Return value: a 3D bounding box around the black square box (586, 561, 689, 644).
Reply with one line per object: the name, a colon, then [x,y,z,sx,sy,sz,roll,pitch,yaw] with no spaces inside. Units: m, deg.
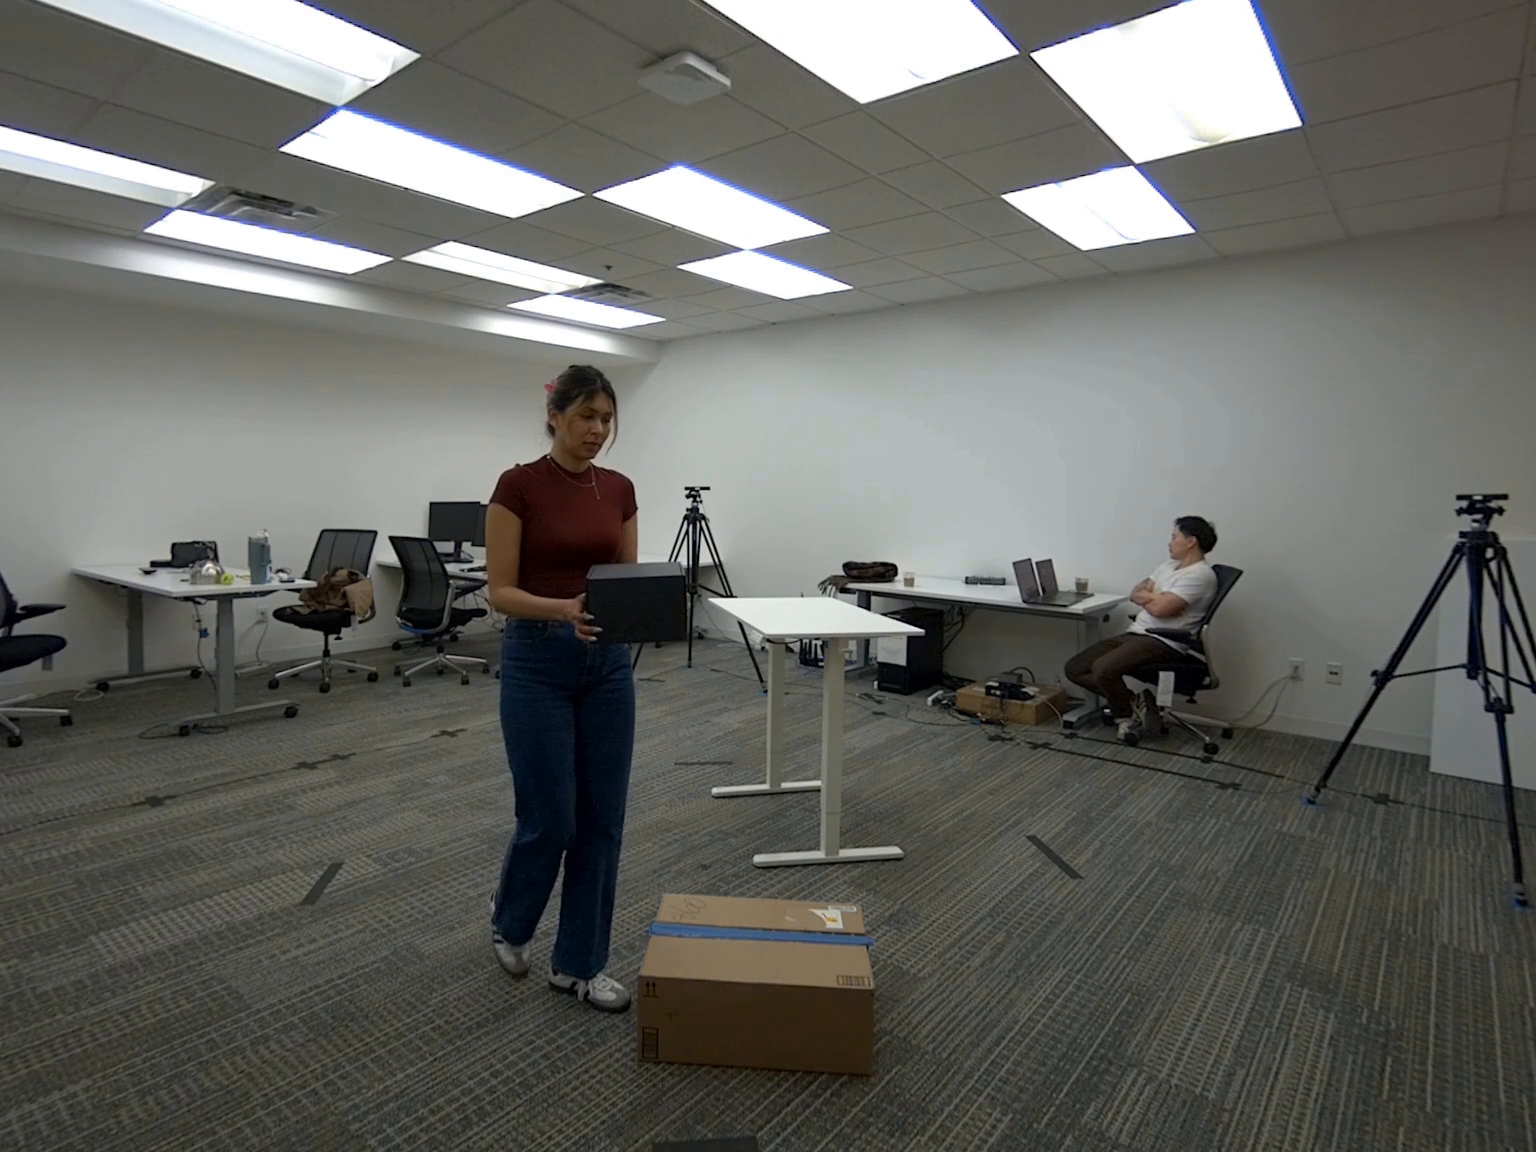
black square box: [-0.327,0.061,2.055,0.227,0.155,0.219,-3,8,-4]
